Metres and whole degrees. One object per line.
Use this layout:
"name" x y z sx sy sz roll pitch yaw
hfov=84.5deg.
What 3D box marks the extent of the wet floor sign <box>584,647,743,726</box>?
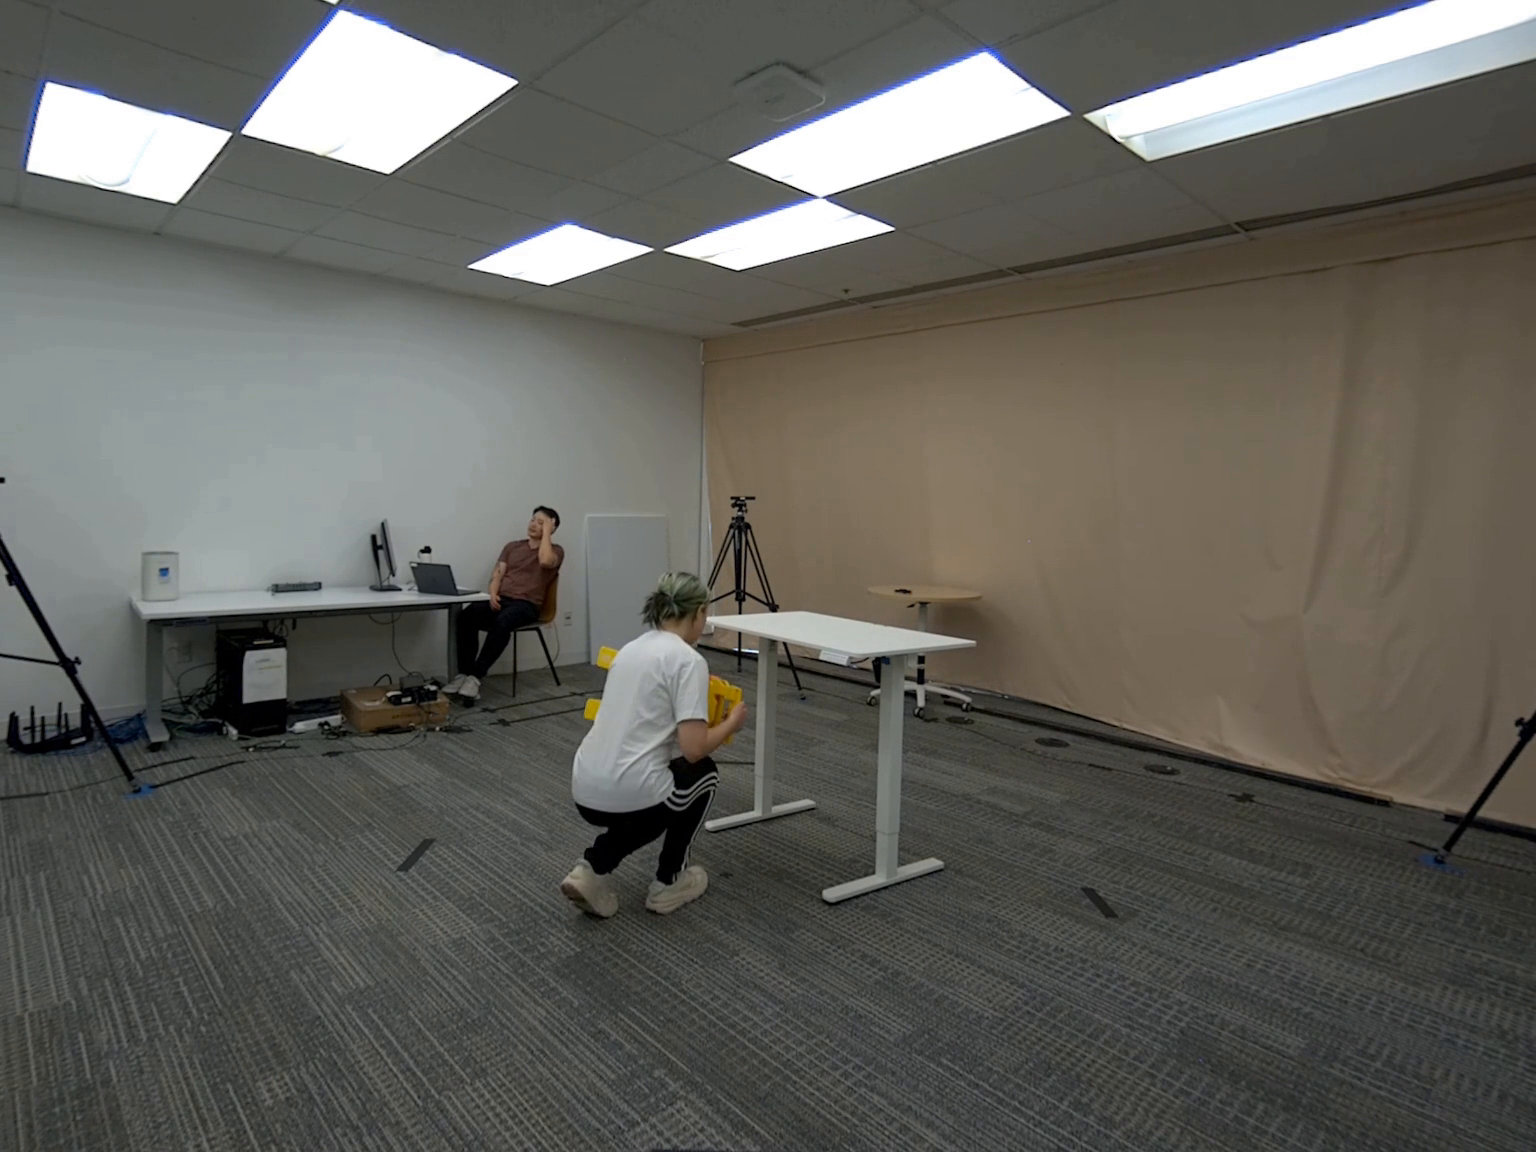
"wet floor sign" -0.357 0.455 3.104 0.662 0.283 0.281 5 -9 41
